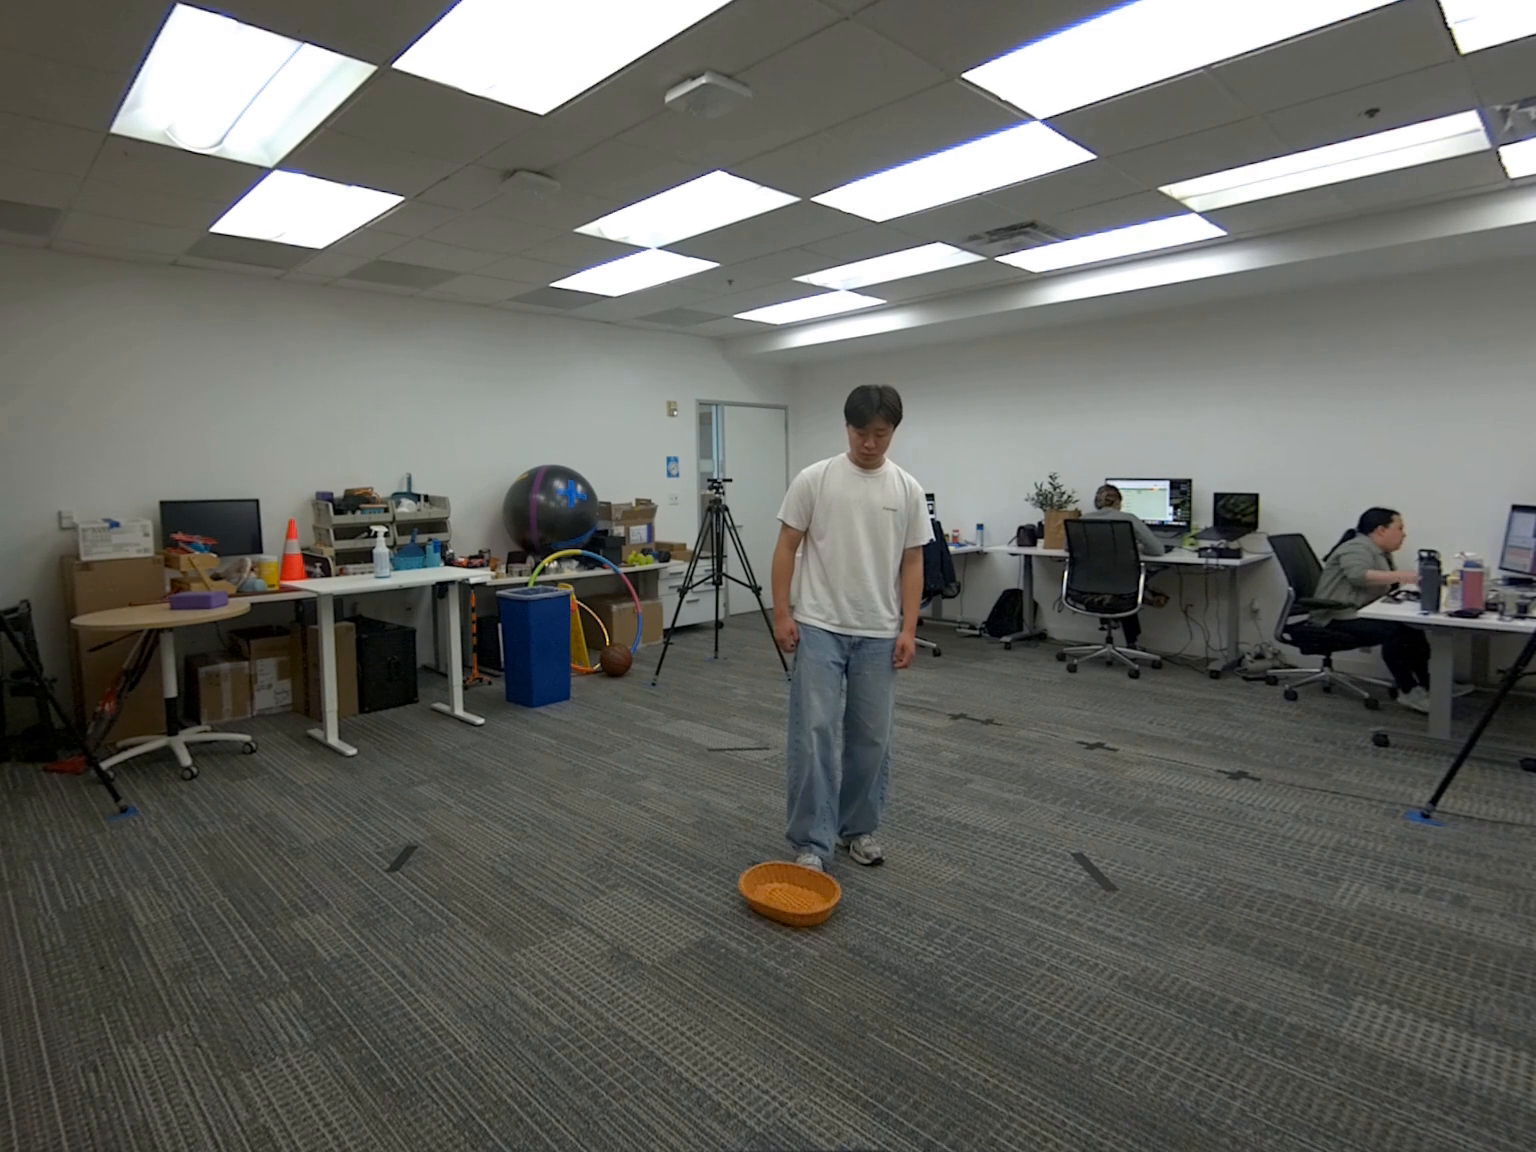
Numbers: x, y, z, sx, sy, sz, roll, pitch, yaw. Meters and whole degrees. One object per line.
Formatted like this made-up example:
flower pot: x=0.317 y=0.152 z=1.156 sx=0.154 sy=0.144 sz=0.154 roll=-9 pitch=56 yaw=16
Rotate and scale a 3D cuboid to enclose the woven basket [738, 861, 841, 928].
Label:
woven basket: x=0.071 y=1.039 z=2.778 sx=0.360 sy=0.073 sz=0.247 roll=3 pitch=13 yaw=34
